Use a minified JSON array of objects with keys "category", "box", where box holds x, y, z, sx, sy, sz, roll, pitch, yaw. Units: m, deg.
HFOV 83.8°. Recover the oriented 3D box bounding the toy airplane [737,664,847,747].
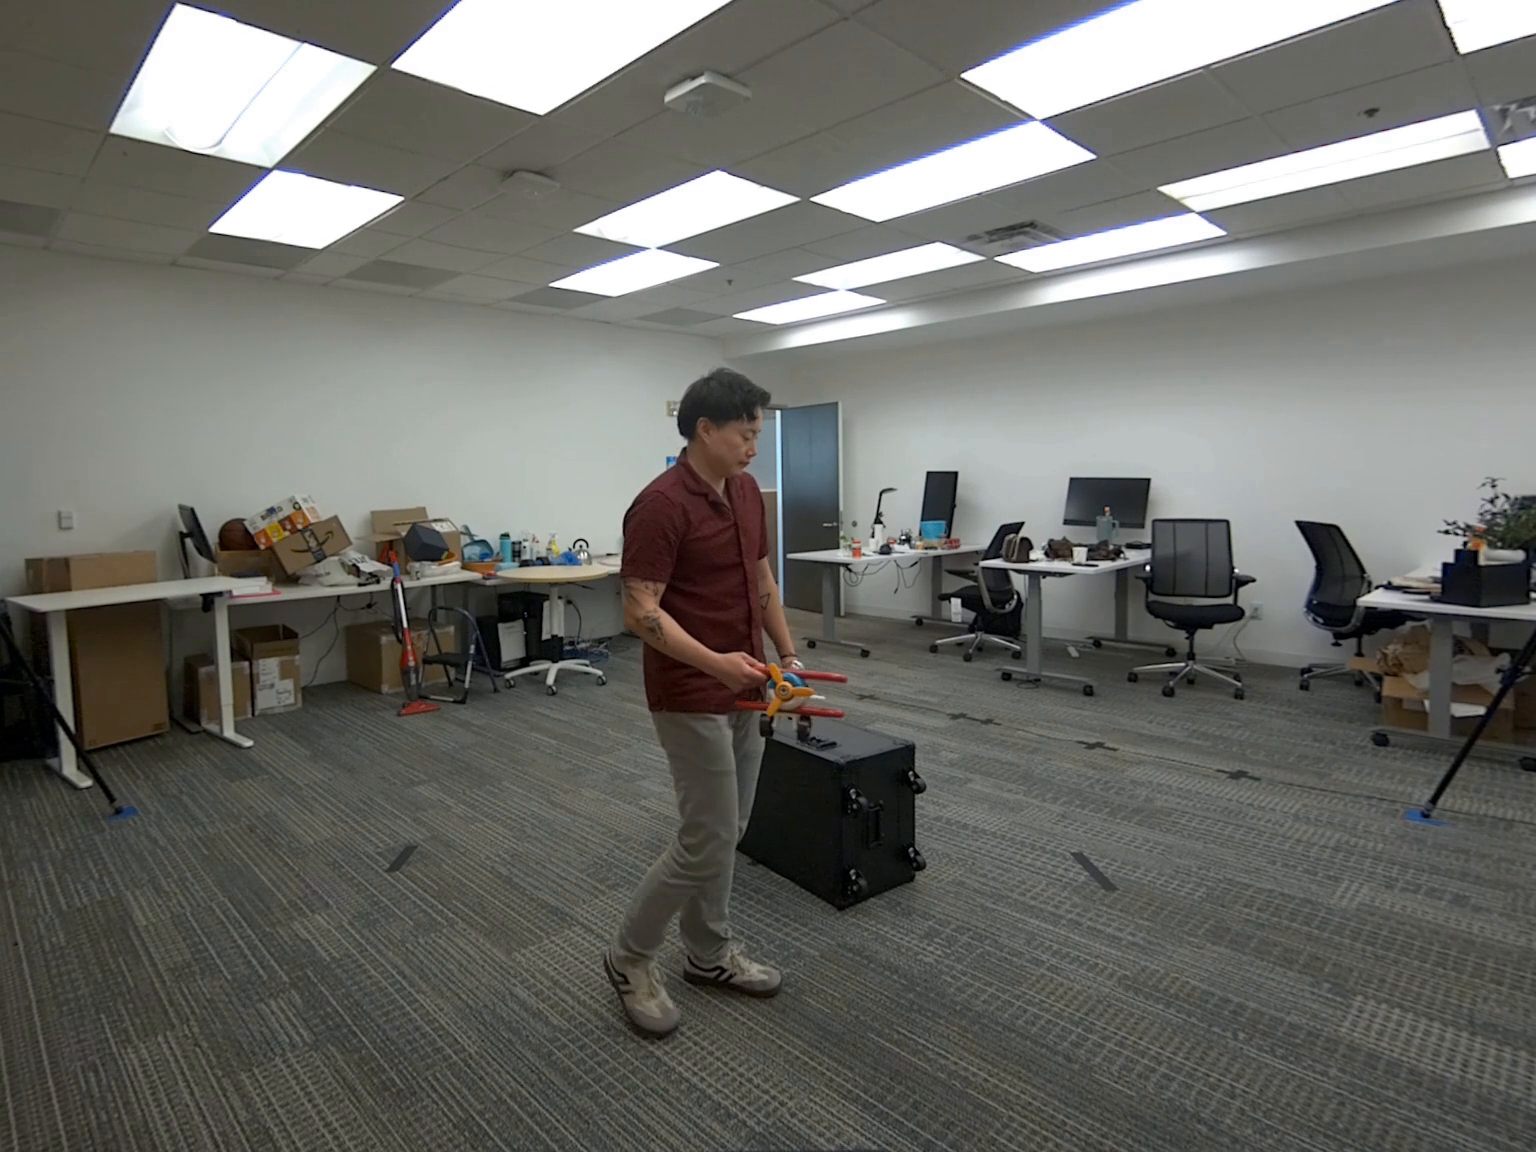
[{"category":"toy airplane","box":[0.042,0.287,2.010,0.246,0.156,0.265,3,5,-21]}]
